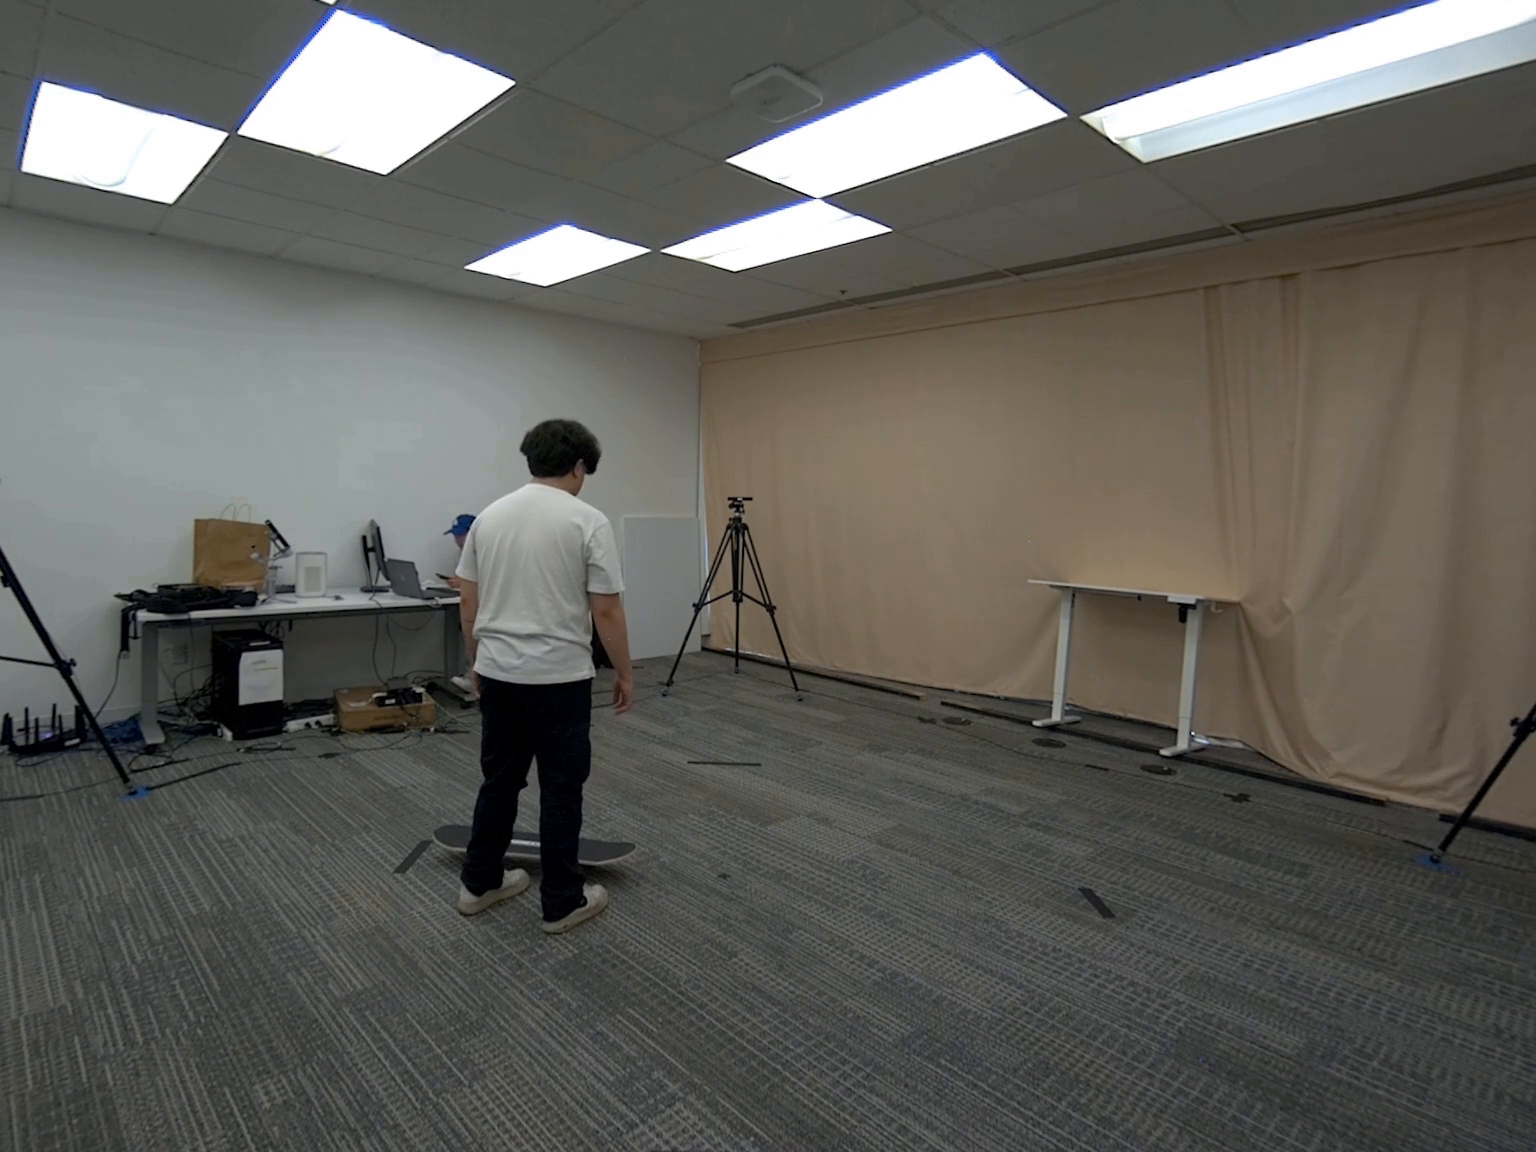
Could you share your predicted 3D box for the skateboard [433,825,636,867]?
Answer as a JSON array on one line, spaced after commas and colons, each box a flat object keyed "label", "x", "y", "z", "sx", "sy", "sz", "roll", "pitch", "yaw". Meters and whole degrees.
[{"label": "skateboard", "x": -0.878, "y": 1.032, "z": 3.128, "sx": 0.793, "sy": 0.110, "sz": 0.192, "roll": 3, "pitch": 5, "yaw": 12}]
